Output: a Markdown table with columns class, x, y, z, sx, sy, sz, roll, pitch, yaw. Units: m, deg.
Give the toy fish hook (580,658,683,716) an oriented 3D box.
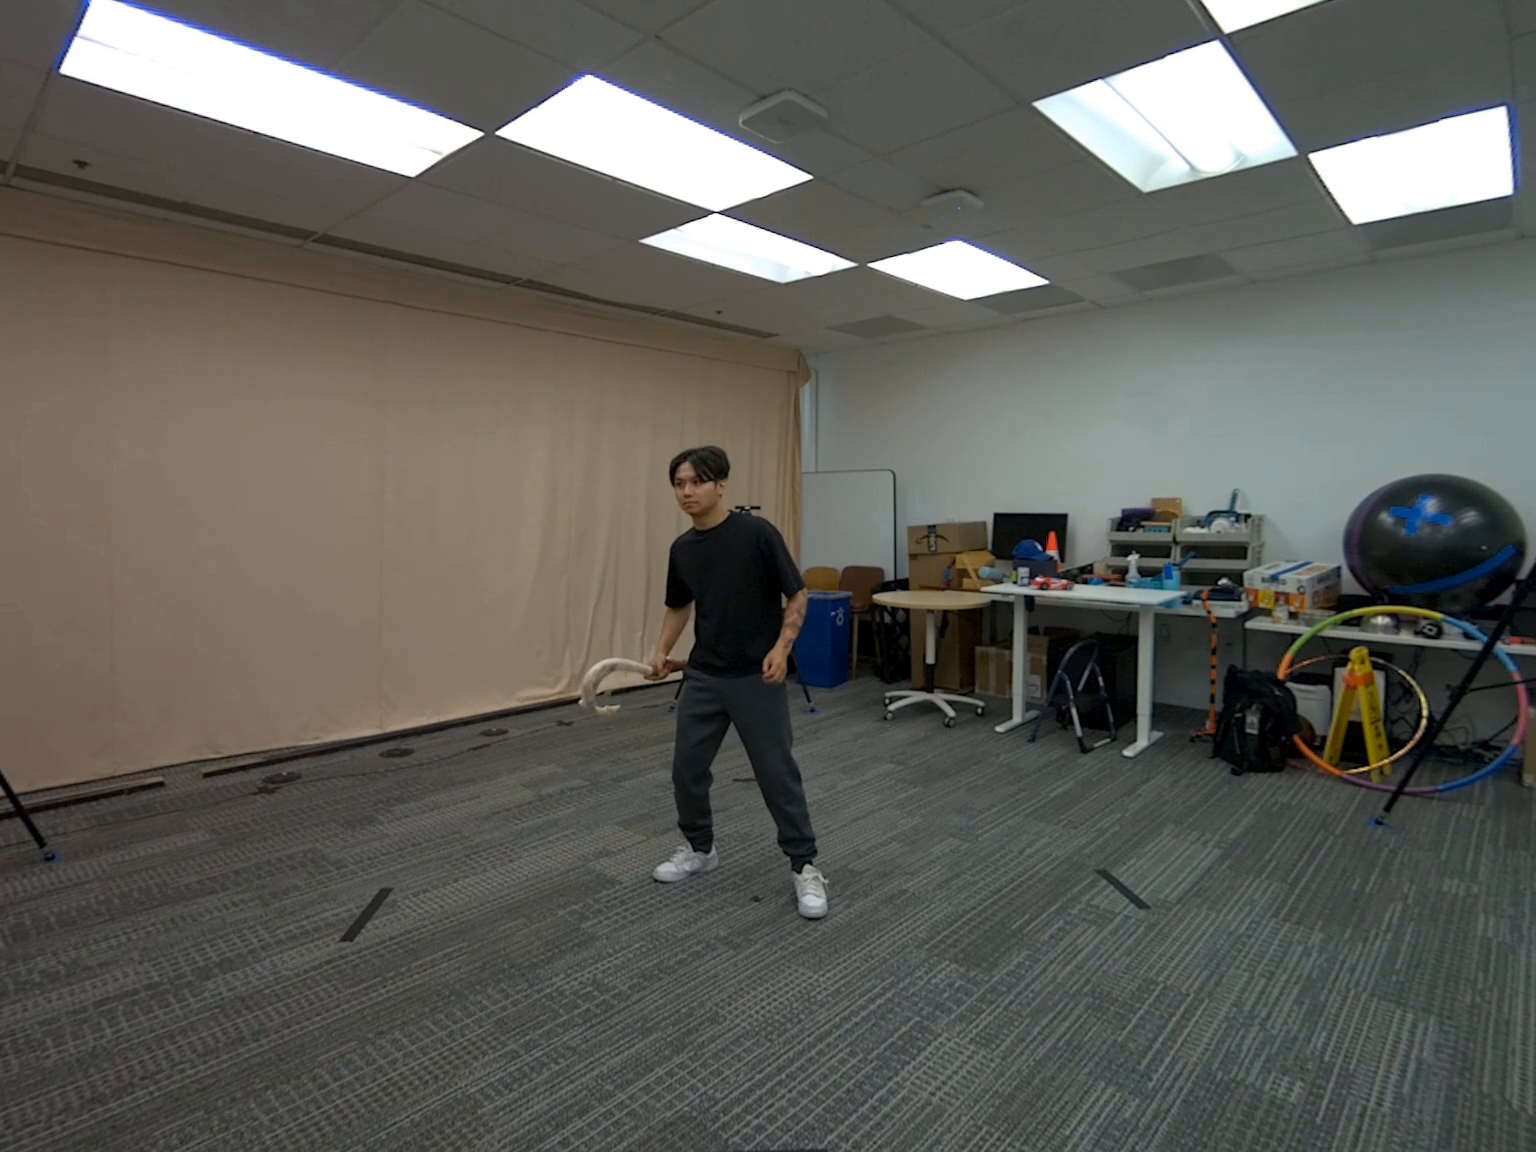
| class | x | y | z | sx | sy | sz | roll | pitch | yaw |
| --- | --- | --- | --- | --- | --- | --- | --- | --- | --- |
| toy fish hook | -0.482 | 0.383 | 3.087 | 0.490 | 0.224 | 0.050 | 1 | 20 | -46 |
